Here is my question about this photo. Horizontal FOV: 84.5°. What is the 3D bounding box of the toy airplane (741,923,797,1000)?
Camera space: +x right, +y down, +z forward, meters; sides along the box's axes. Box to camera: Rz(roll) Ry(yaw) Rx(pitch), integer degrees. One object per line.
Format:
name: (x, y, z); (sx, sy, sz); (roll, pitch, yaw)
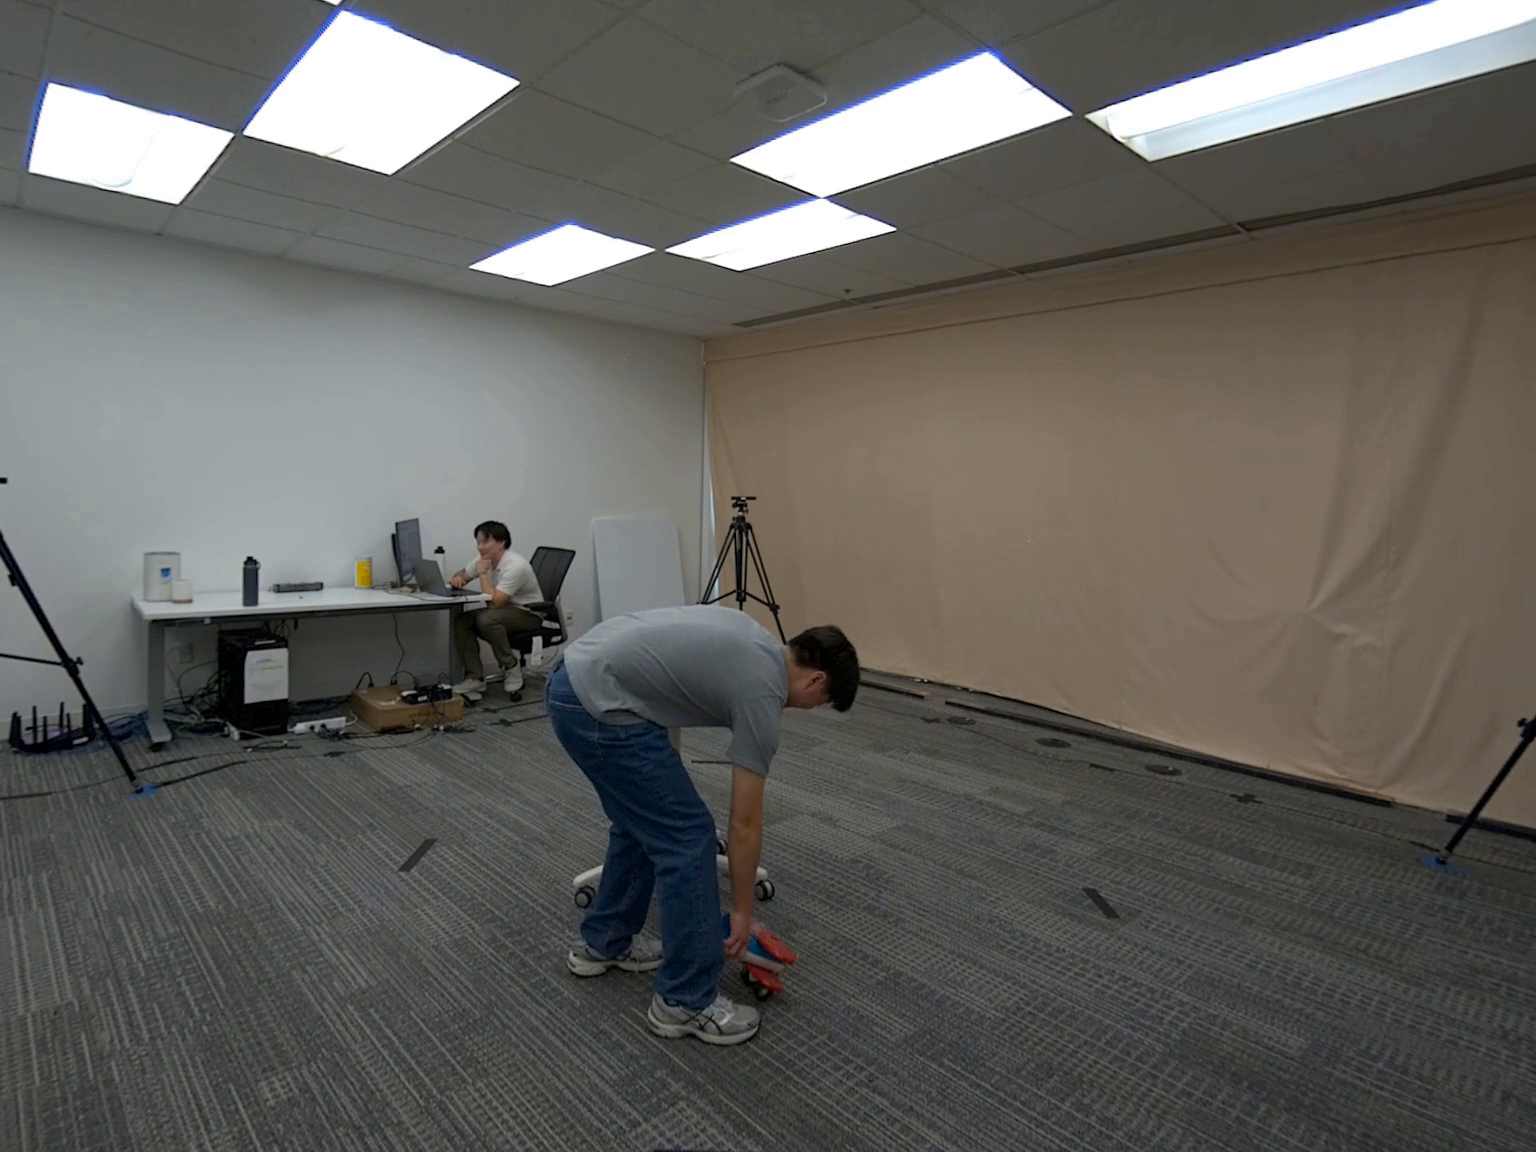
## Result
toy airplane: (-0.052, 1.069, 2.340); (0.259, 0.156, 0.251); (26, -19, 39)
